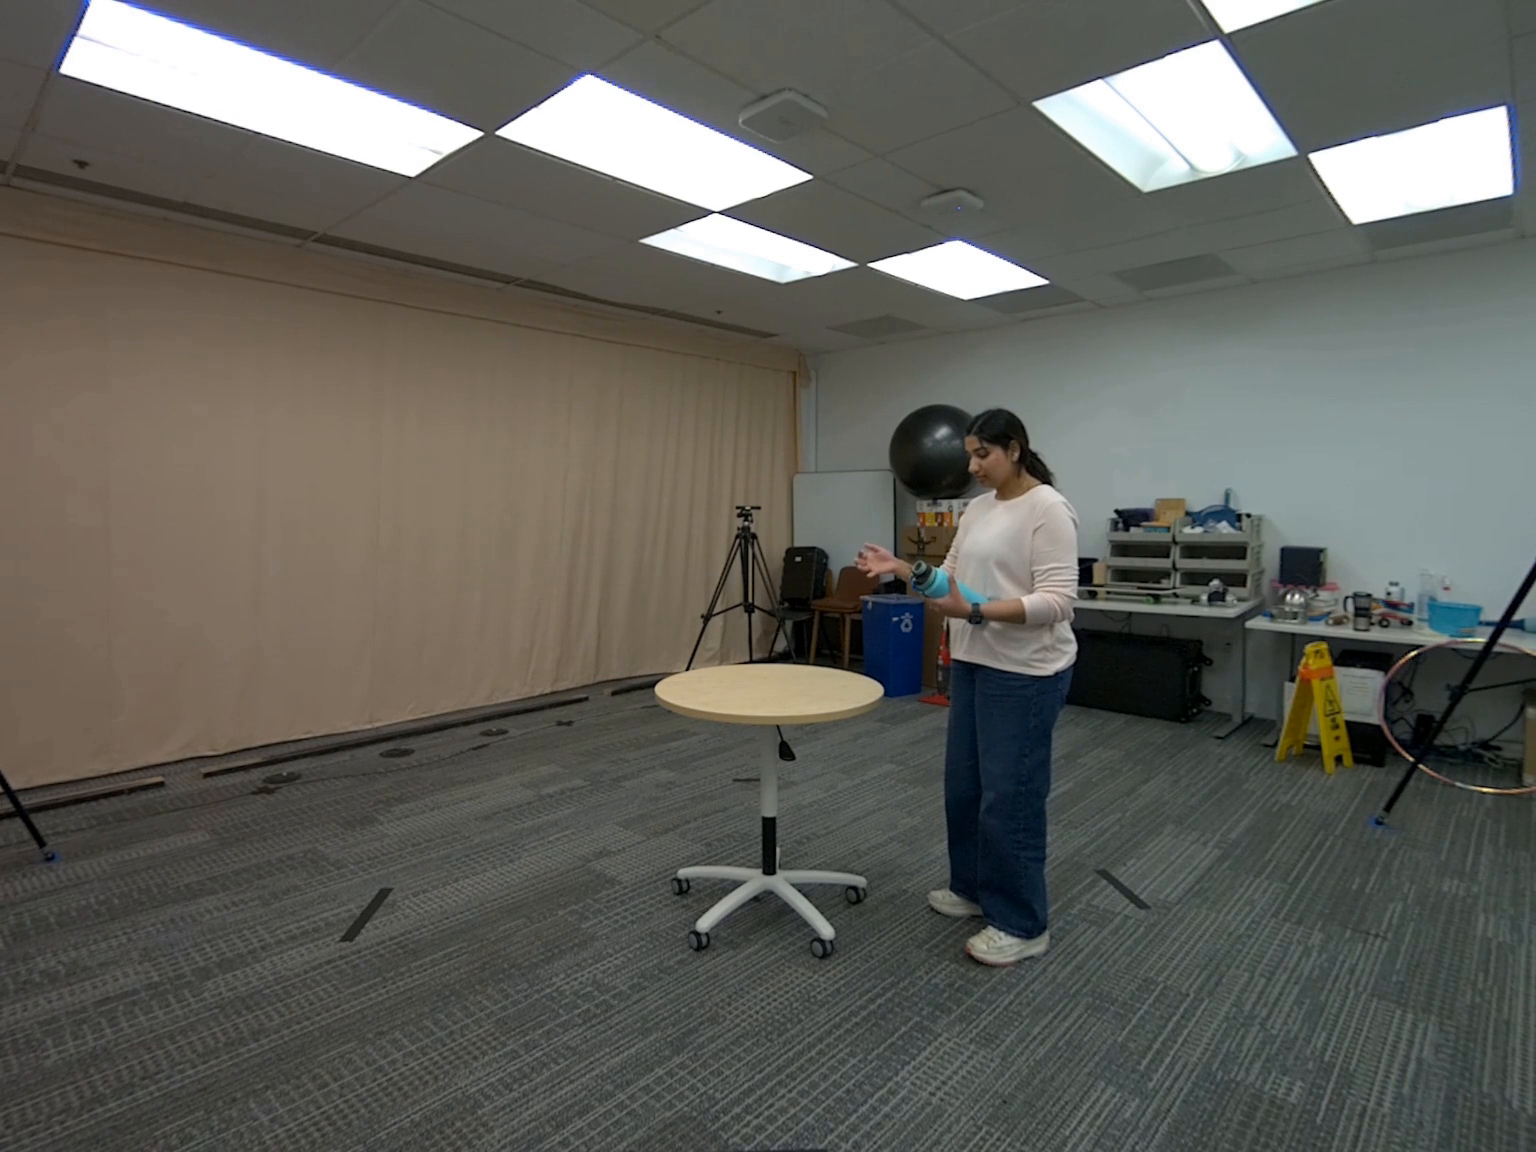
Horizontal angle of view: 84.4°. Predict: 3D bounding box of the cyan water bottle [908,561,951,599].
[{"bbox_3d":[0.557,0.050,2.544,0.276,0.092,0.095,31,-10,-23],"label":"cyan water bottle"}]
